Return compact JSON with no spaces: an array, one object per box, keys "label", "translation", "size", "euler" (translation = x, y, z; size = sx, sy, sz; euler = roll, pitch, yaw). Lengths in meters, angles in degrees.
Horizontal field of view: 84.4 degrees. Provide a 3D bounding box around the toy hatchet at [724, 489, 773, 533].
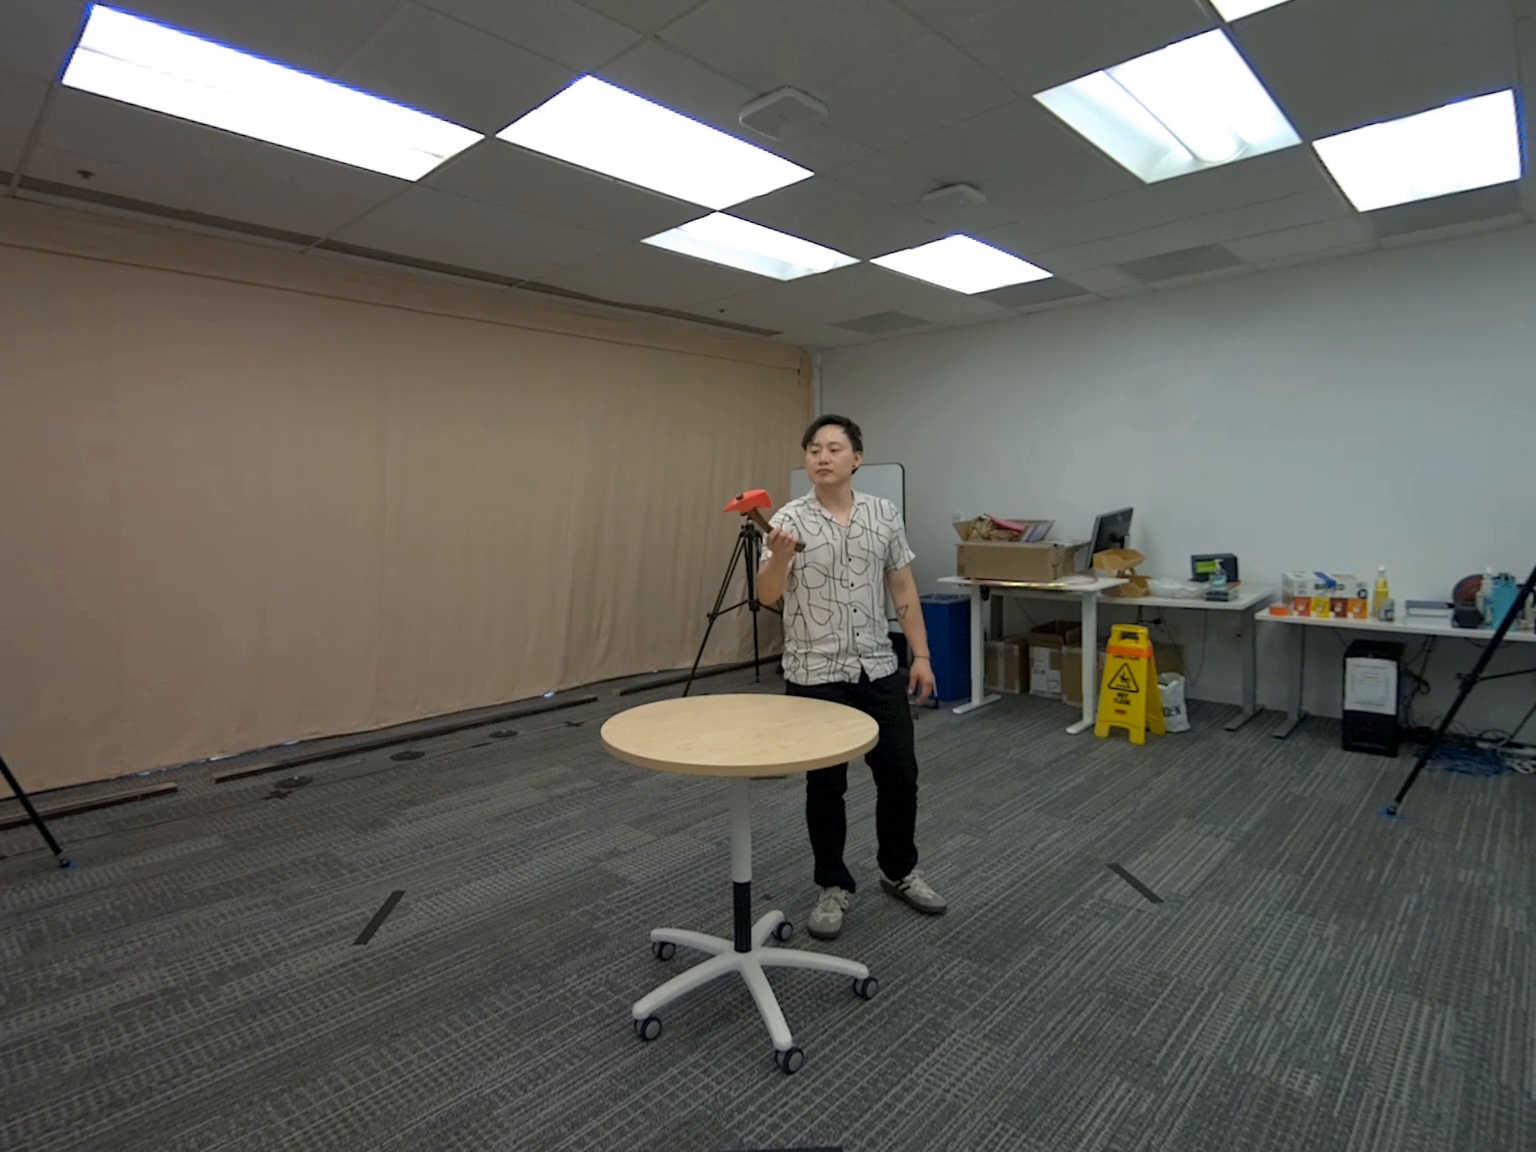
[{"label":"toy hatchet","translation":[0.022,-0.163,2.282],"size":[0.262,0.030,0.132],"euler":[26,-49,-25]}]
